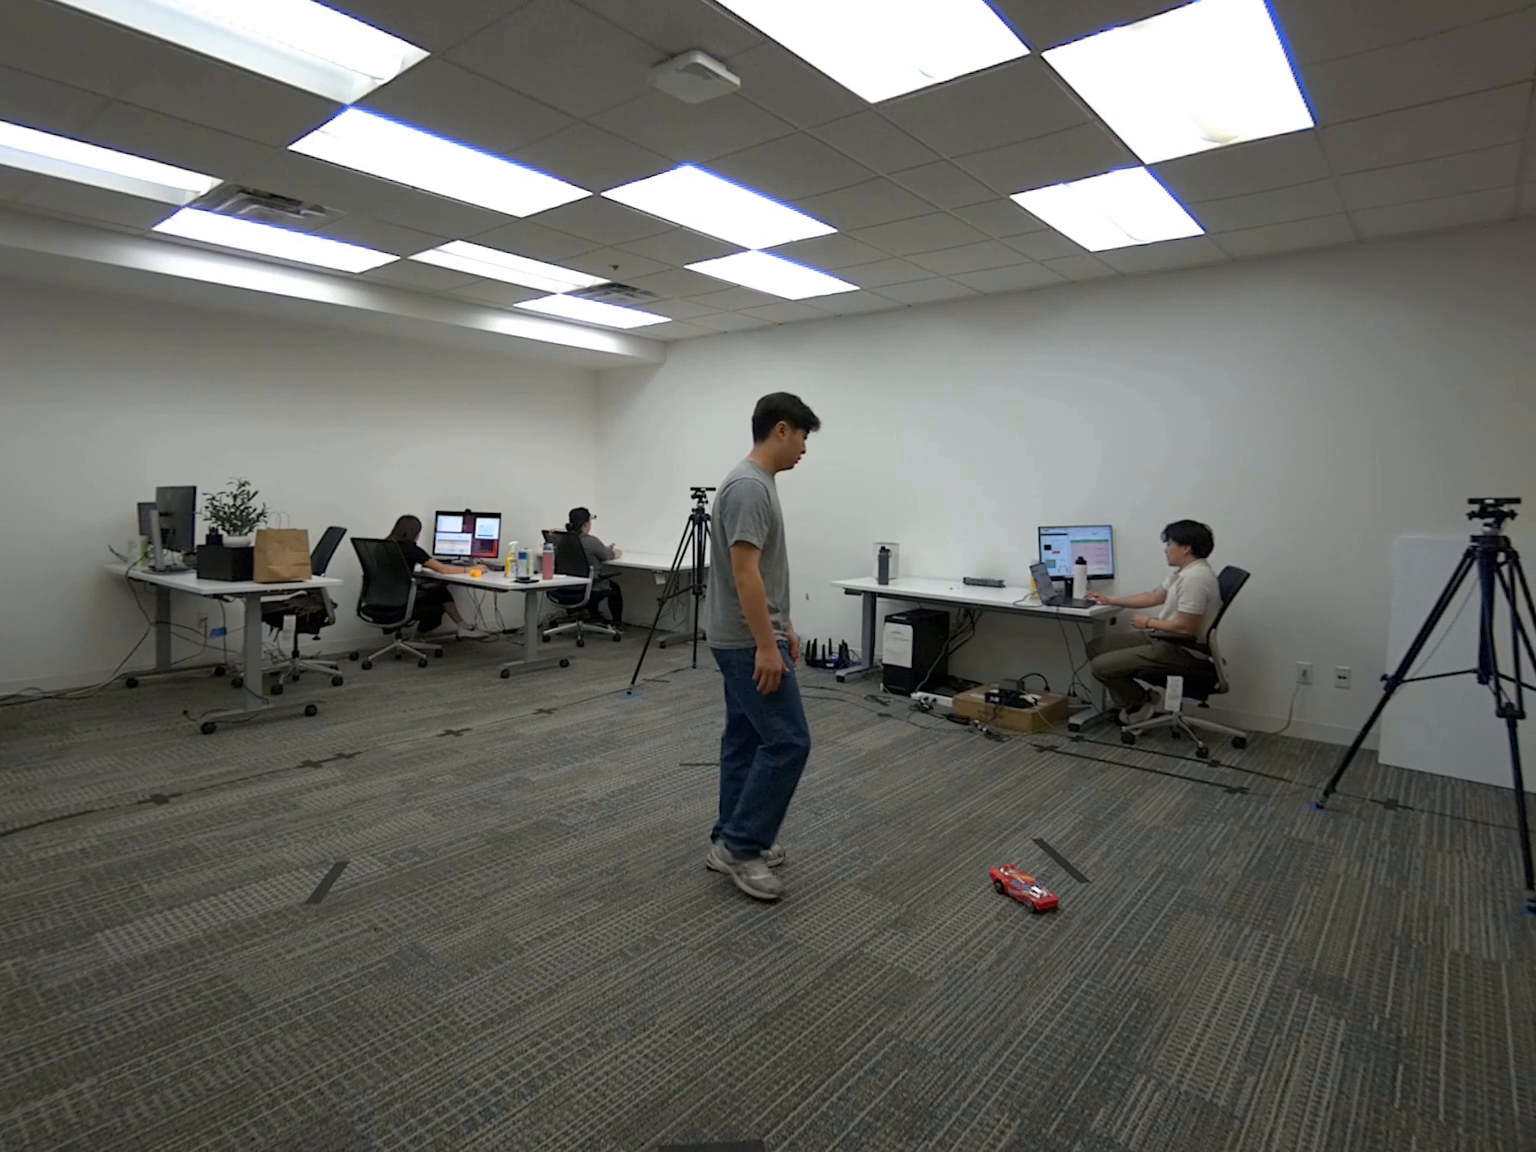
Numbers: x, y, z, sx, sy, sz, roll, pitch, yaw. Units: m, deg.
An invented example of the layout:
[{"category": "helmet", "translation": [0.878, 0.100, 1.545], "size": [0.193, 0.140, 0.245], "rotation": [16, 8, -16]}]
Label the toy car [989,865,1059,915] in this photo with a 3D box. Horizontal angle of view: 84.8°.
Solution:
[{"category": "toy car", "translation": [0.875, 1.081, 2.941], "size": [0.127, 0.082, 0.264], "rotation": [-1, 17, -26]}]
